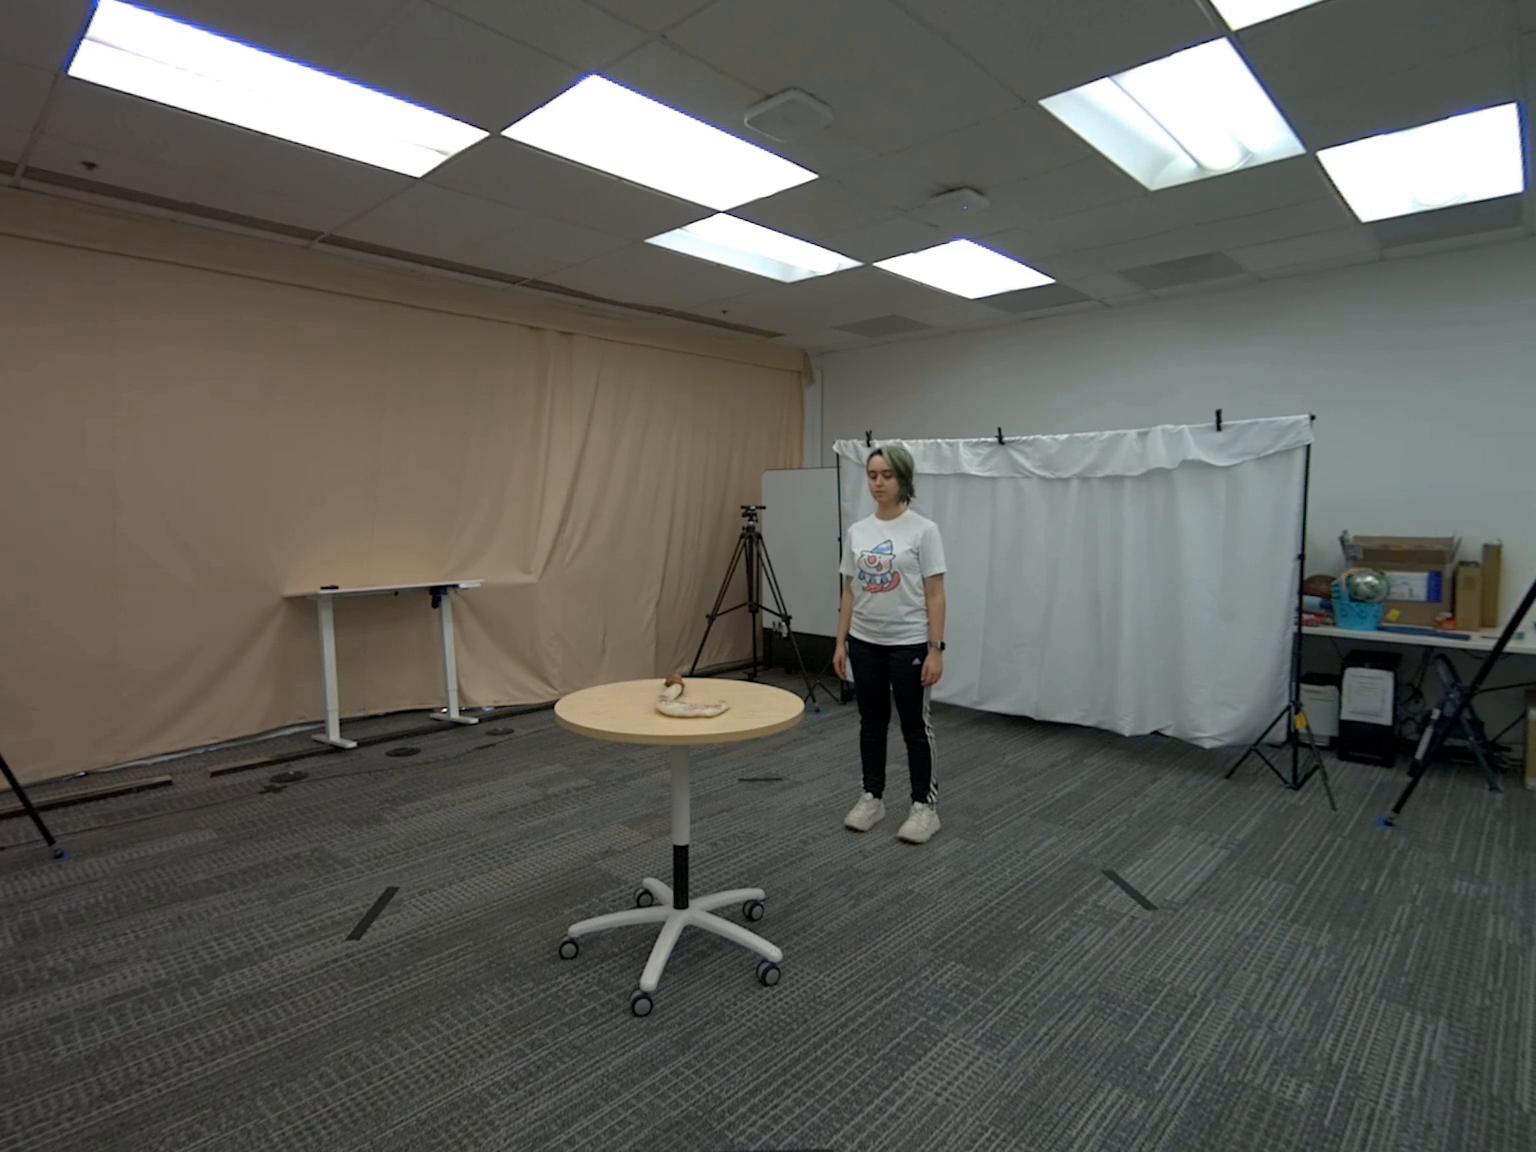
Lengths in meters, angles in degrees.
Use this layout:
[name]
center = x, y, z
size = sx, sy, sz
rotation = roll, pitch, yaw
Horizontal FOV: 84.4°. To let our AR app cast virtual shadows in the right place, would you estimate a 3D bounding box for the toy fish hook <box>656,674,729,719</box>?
[toy fish hook]
center = -0.247, 0.373, 2.644
size = 0.224, 0.048, 0.510
rotation = 6, 5, -5
